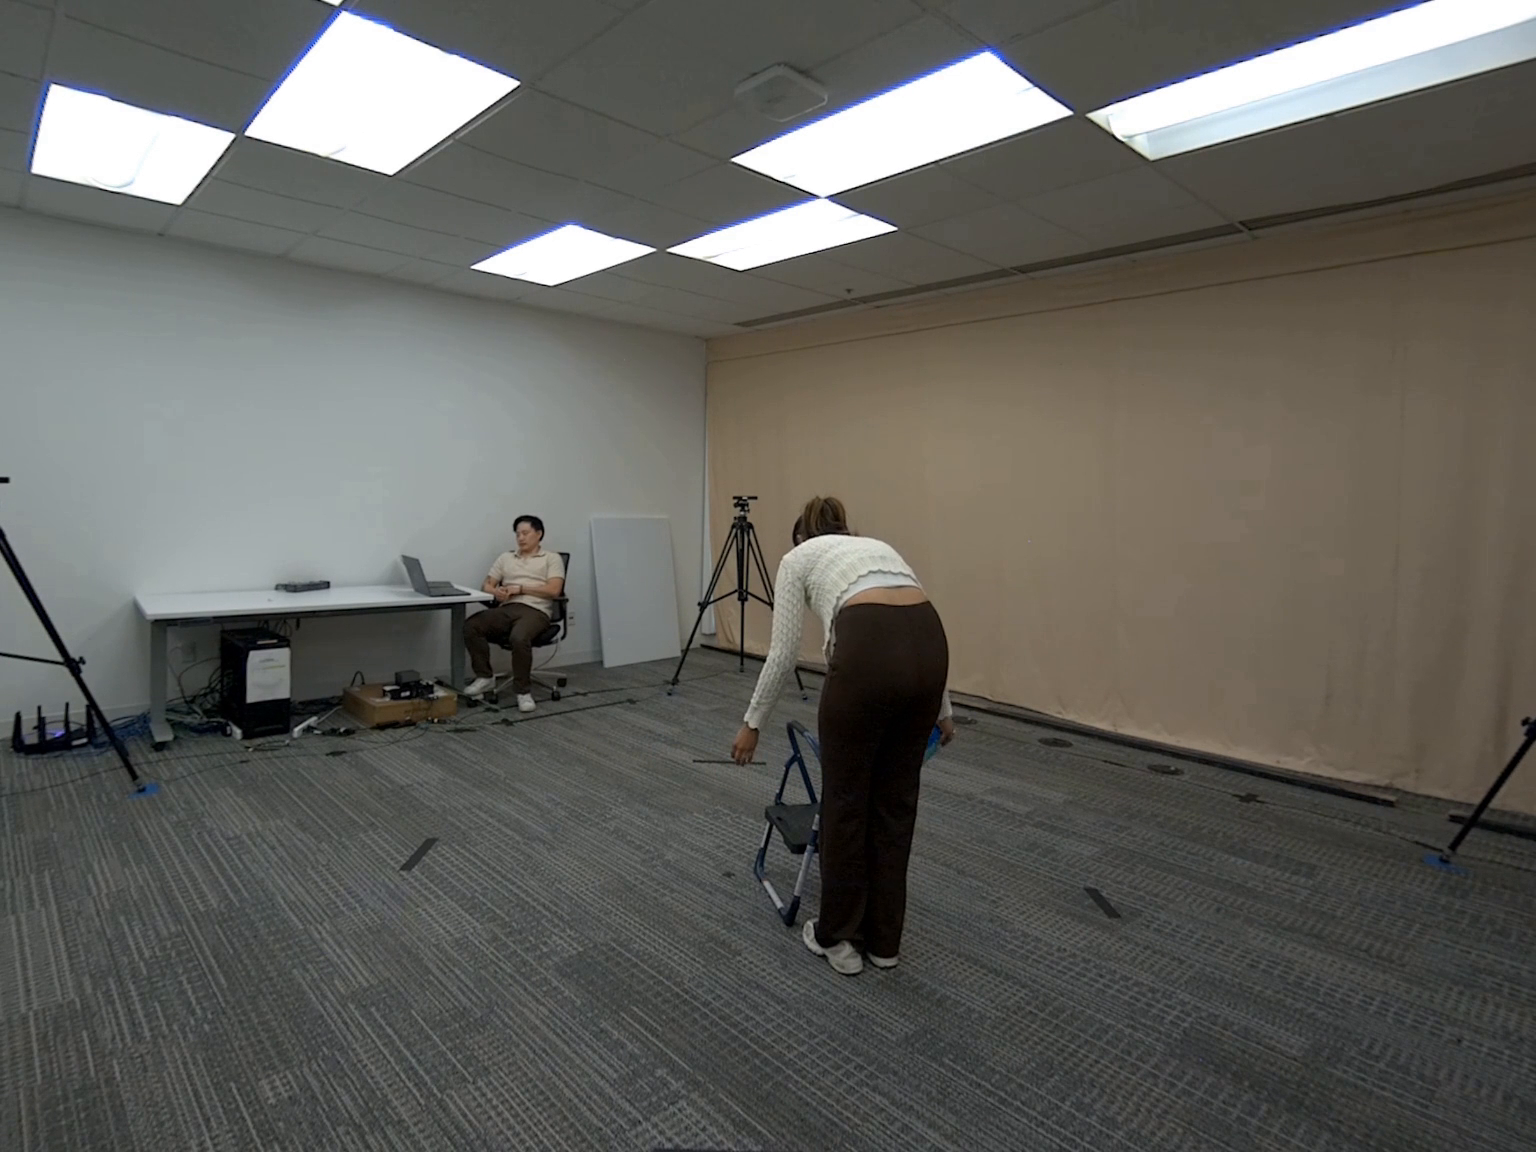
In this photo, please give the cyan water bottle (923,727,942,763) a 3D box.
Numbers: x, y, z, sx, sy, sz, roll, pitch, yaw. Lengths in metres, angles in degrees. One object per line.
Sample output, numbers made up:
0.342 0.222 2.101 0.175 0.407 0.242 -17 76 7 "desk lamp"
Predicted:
0.508 0.624 2.922 0.091 0.283 0.094 33 18 -14 "cyan water bottle"
